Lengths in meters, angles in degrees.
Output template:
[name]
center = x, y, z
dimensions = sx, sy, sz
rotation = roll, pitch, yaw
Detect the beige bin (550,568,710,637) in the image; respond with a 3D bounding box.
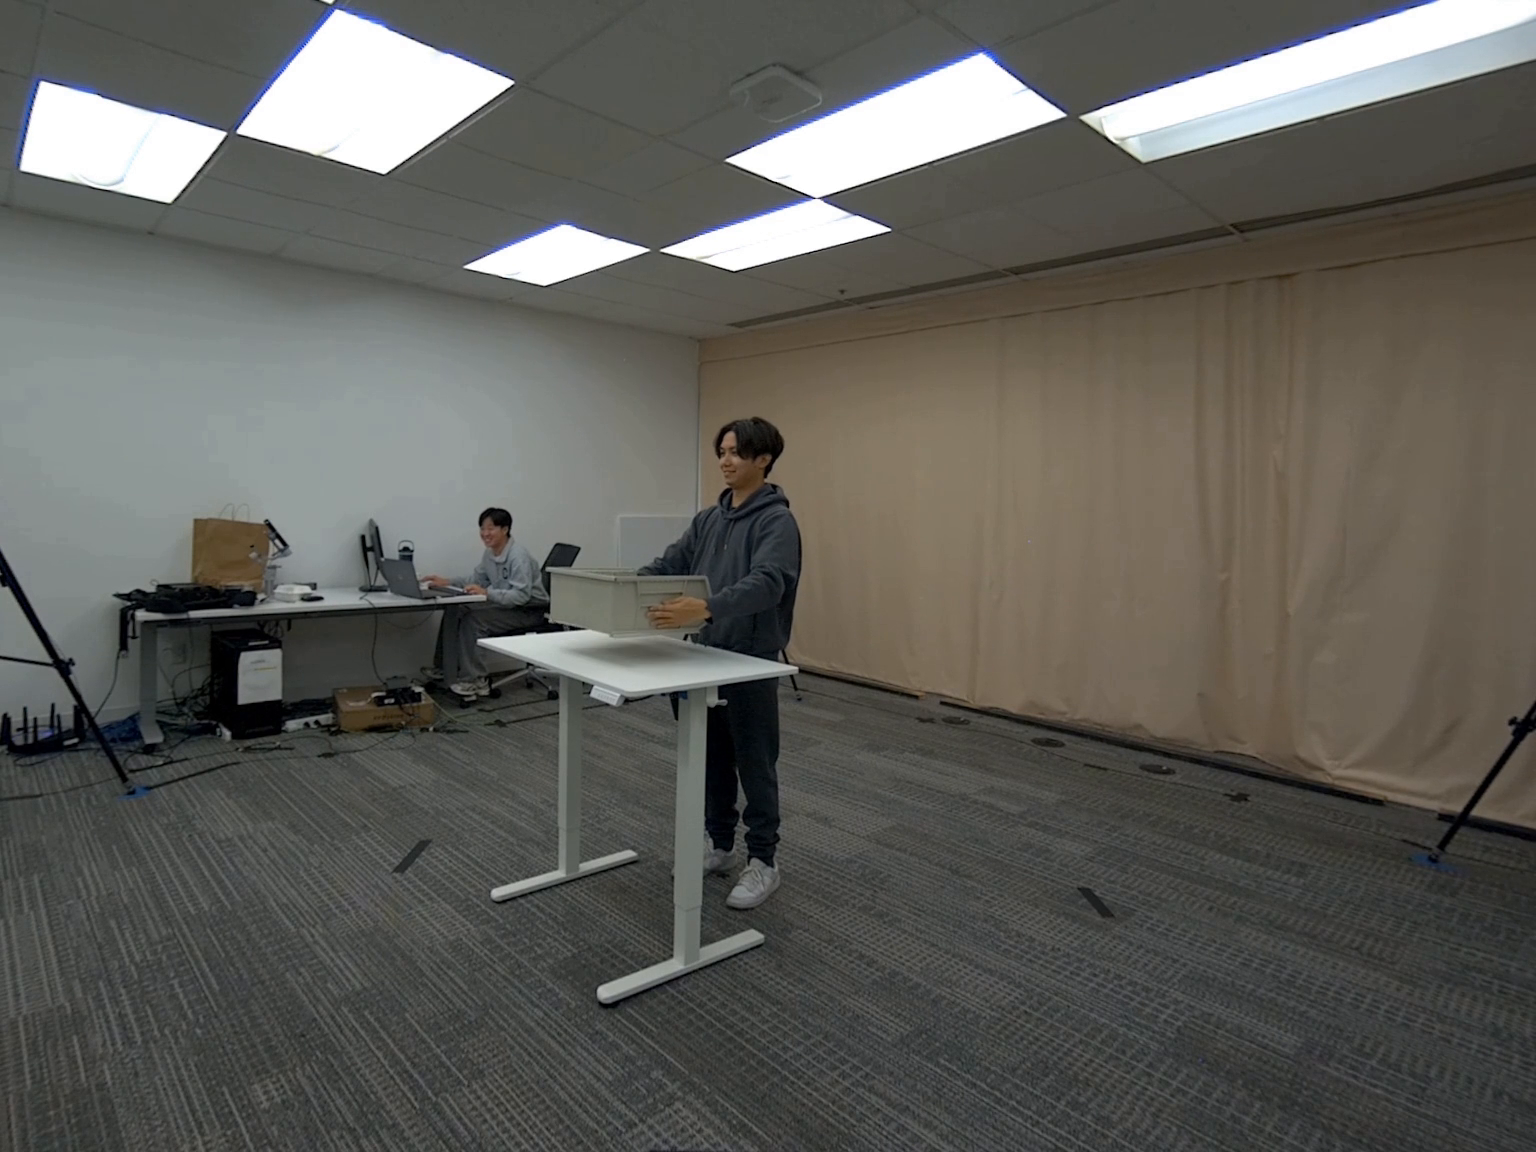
[beige bin]
center = -0.462, 0.080, 2.700
dimensions = 0.368, 0.188, 0.433
rotation = -1, 5, -41
